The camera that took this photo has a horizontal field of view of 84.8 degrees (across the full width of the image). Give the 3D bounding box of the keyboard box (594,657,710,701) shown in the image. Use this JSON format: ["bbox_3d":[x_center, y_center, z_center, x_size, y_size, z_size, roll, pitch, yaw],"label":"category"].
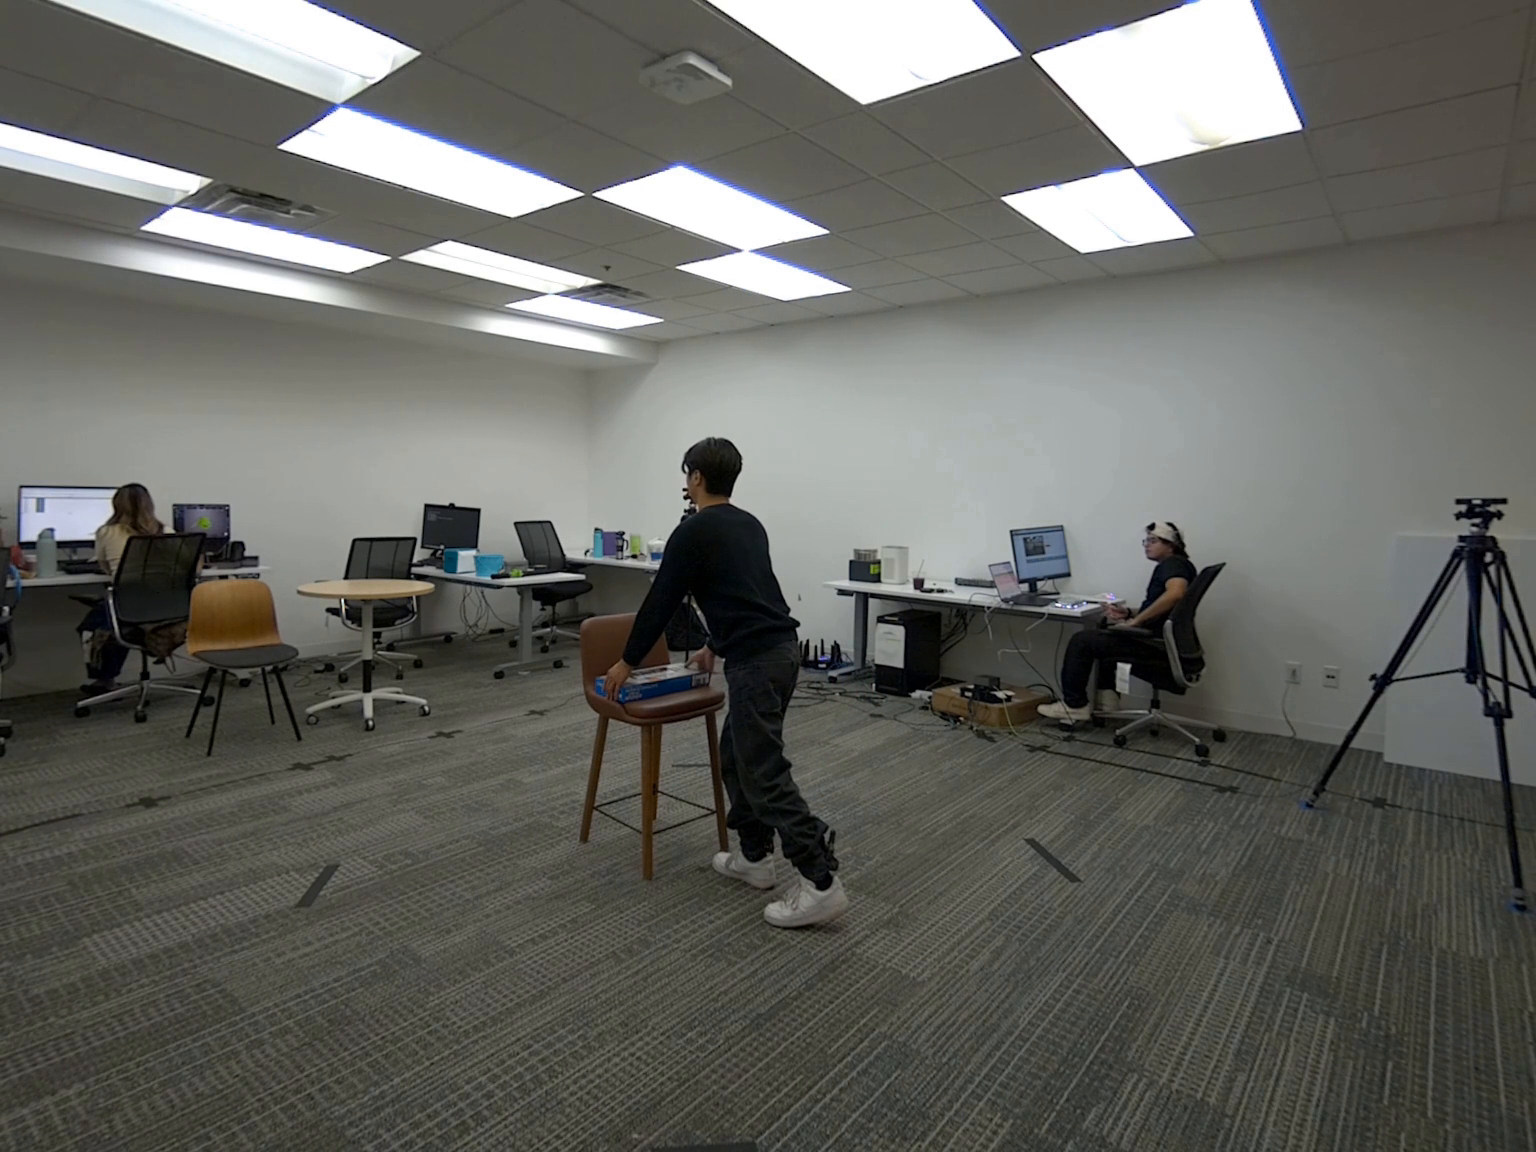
[{"bbox_3d":[-0.448,0.394,3.275,0.182,0.059,0.424,11,11,42],"label":"keyboard box"}]
